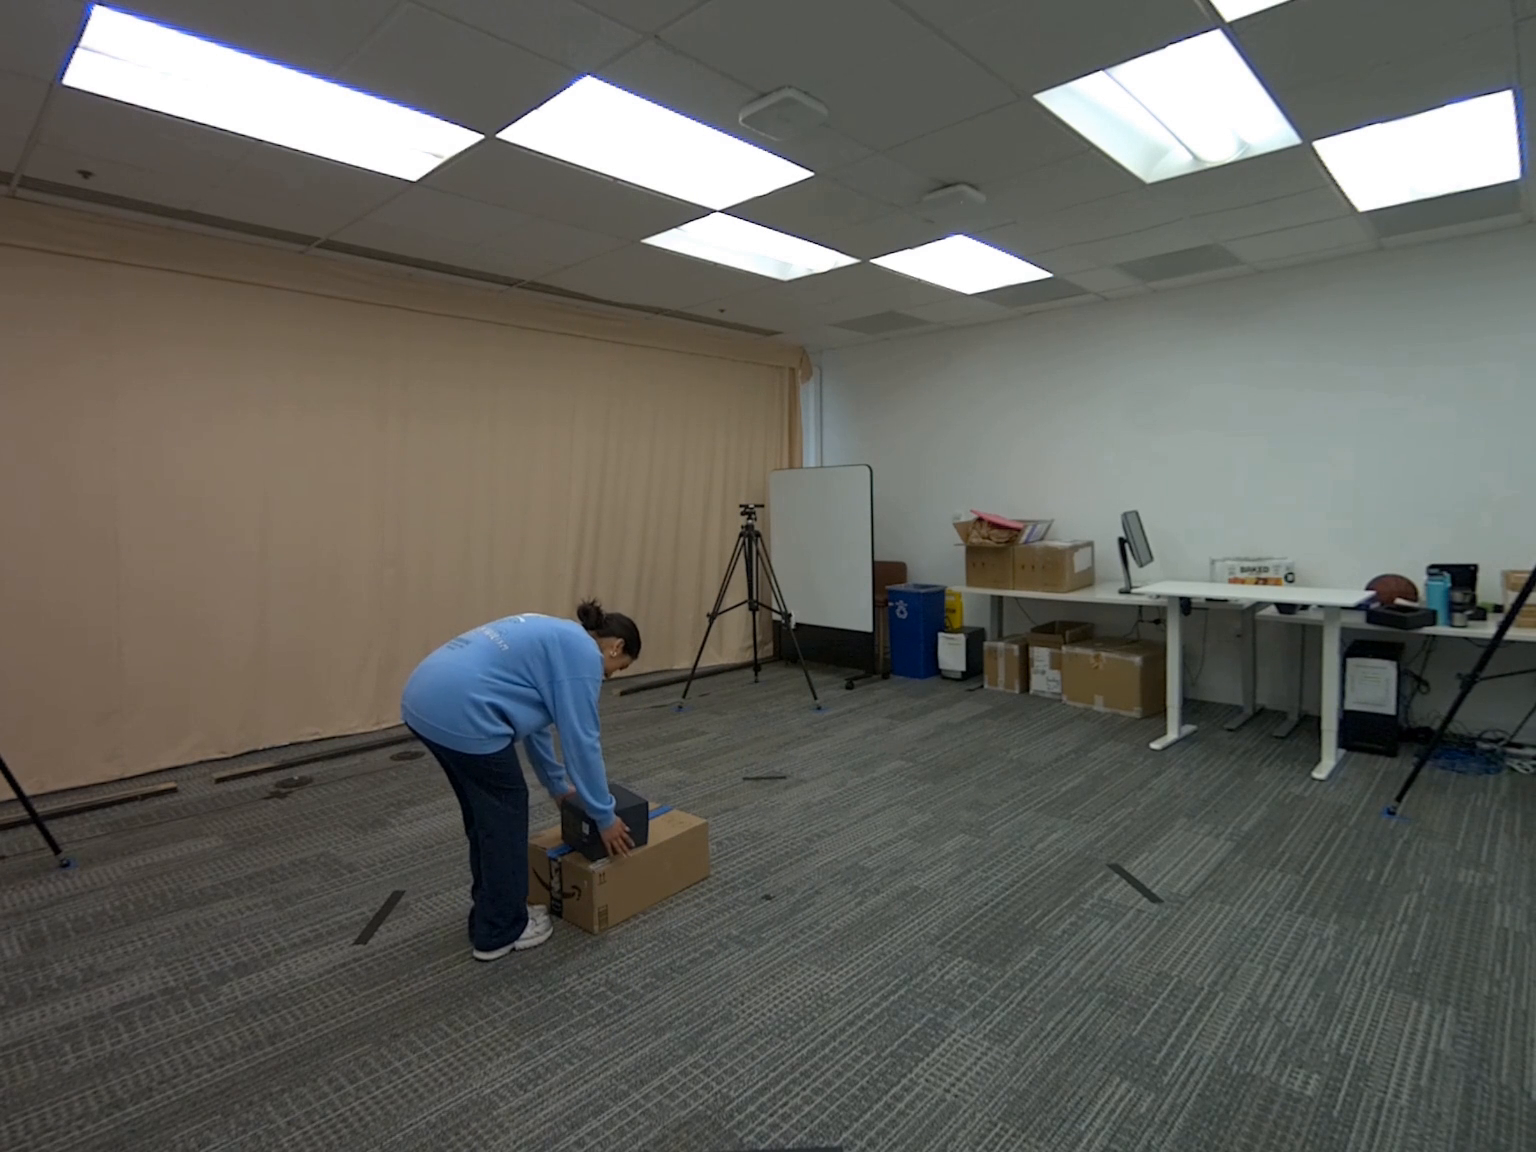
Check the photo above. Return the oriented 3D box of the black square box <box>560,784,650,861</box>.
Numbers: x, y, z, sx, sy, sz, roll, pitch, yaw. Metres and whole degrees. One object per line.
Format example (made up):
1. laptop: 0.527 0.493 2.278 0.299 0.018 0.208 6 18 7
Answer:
1. black square box: -0.569 0.854 2.943 0.221 0.155 0.224 -5 9 -42
